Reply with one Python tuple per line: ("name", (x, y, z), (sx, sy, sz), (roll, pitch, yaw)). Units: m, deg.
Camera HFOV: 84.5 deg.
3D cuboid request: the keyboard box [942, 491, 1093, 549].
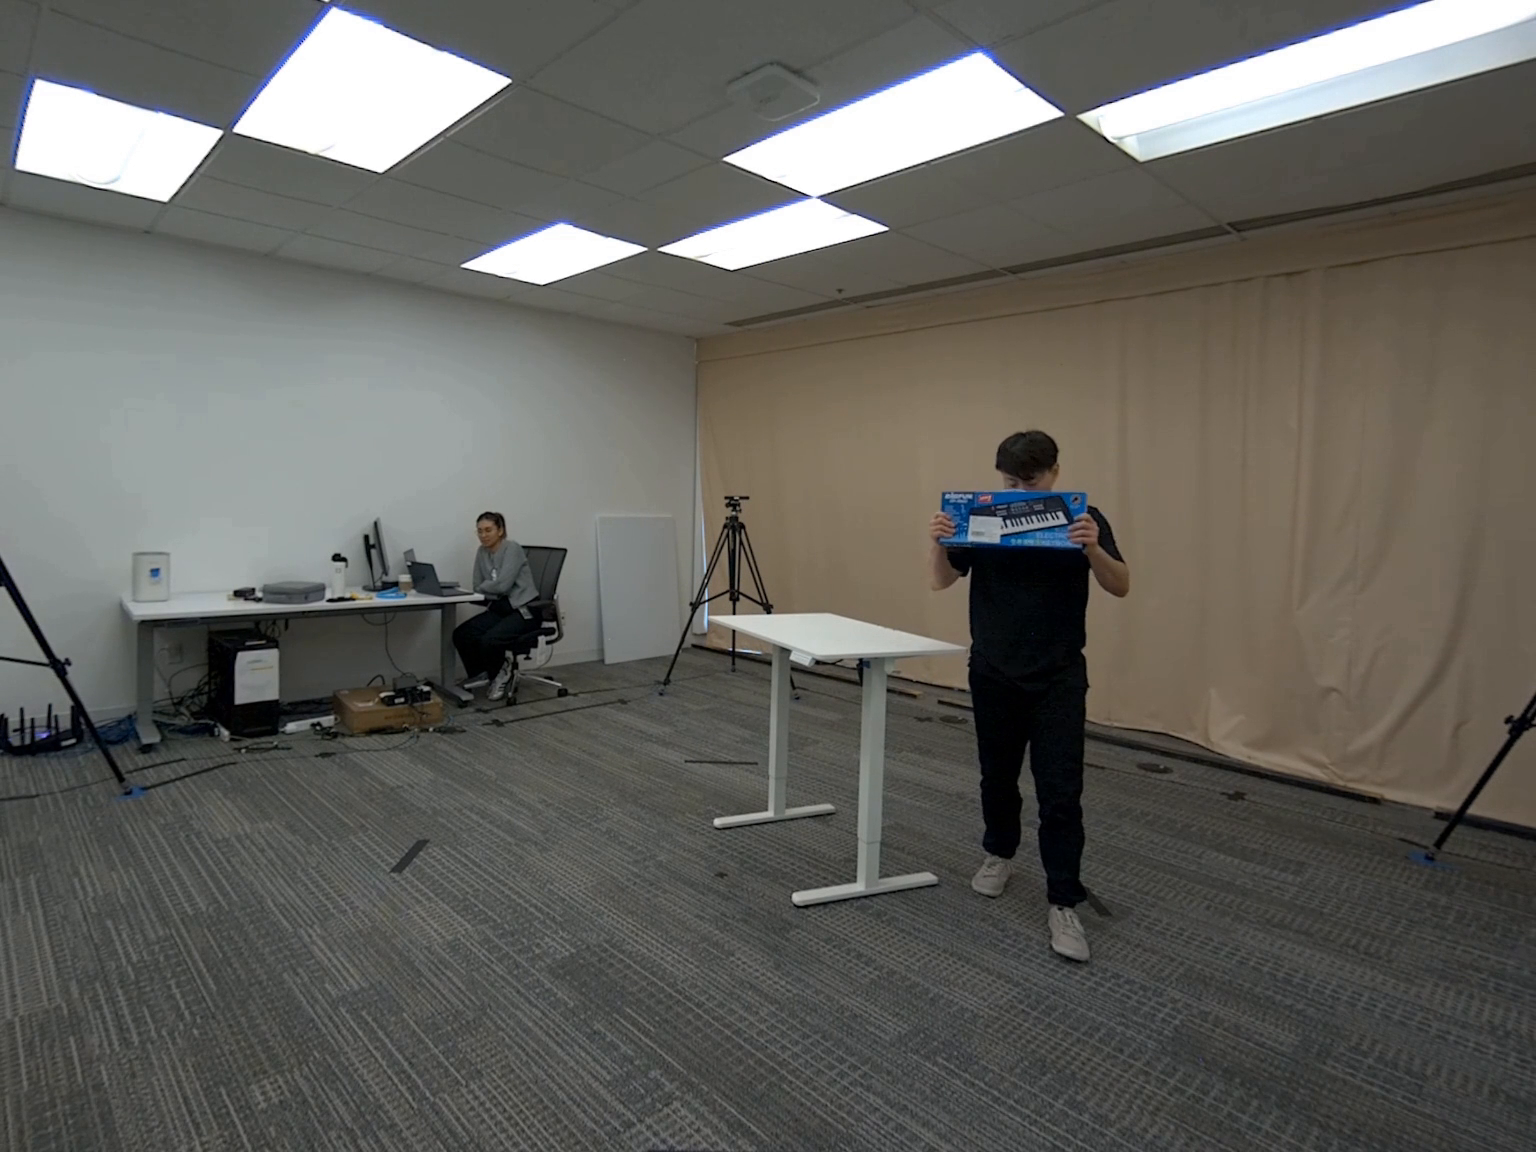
("keyboard box", (0.770, -0.174, 2.649), (0.446, 0.176, 0.058), (3, -2, 28))
